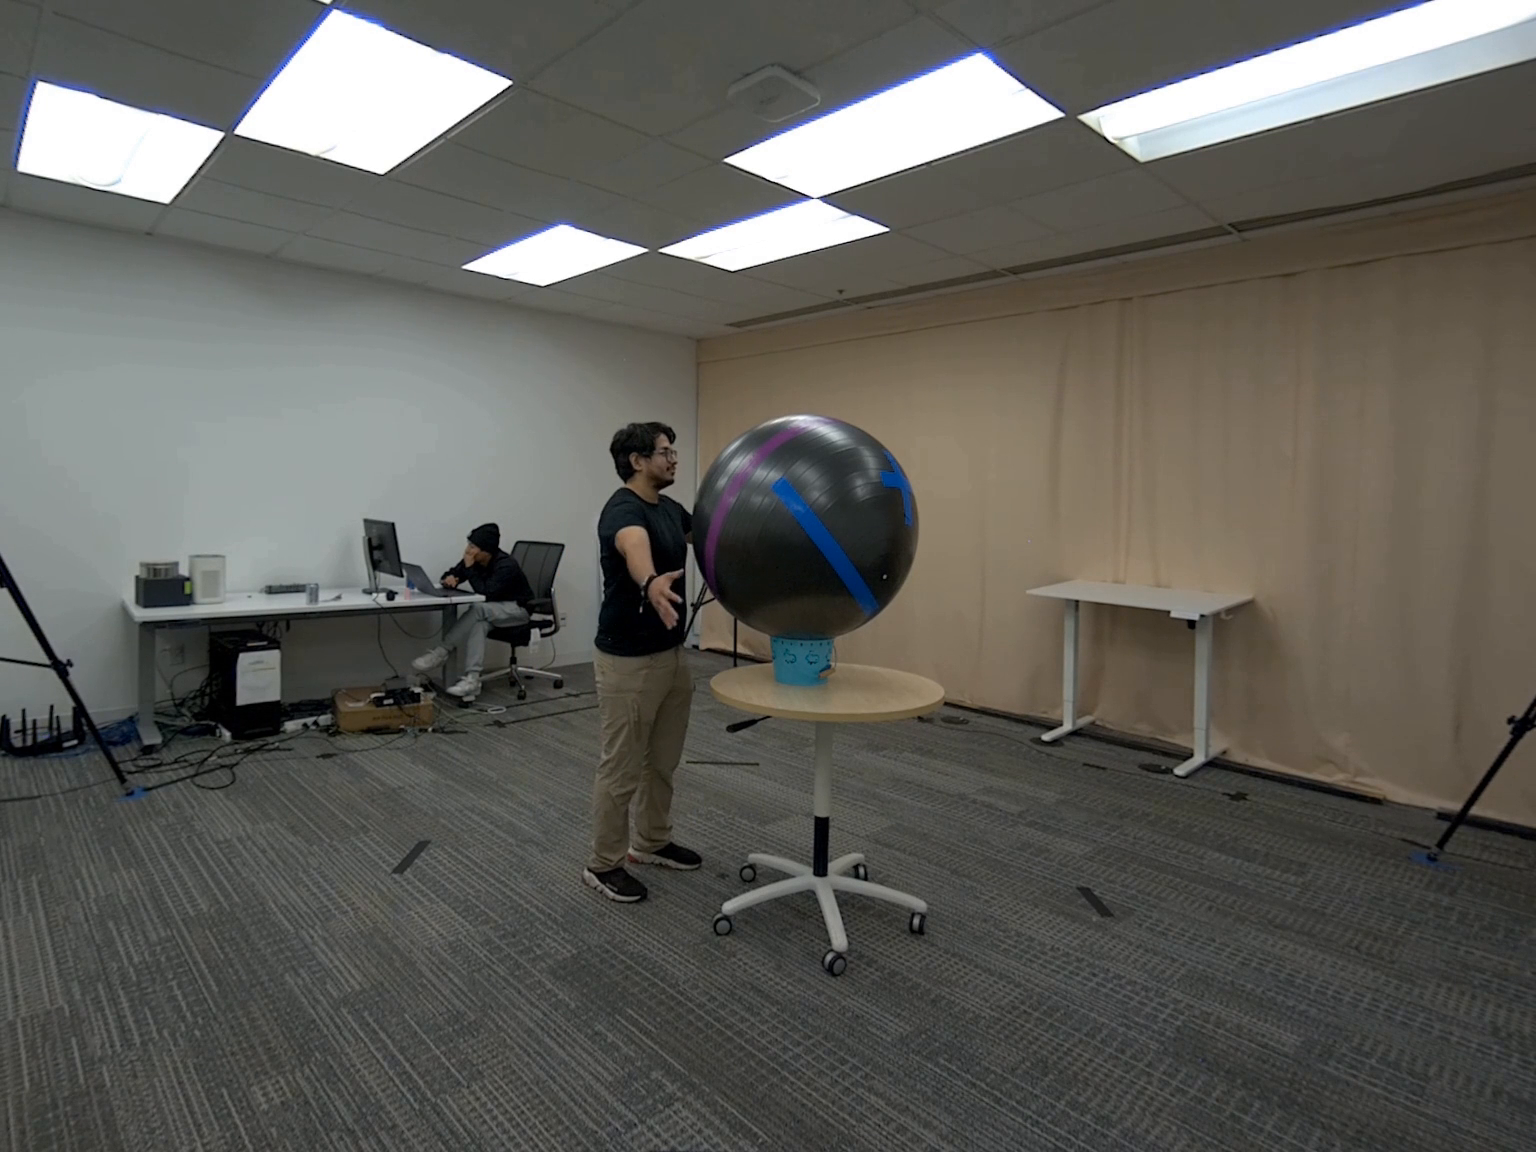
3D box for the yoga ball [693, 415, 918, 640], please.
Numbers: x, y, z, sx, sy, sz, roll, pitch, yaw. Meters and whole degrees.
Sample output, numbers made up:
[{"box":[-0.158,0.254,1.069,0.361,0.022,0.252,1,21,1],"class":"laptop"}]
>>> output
[{"box":[0.119,-0.158,2.831,0.757,0.756,0.761,1,4,-1],"class":"yoga ball"}]
